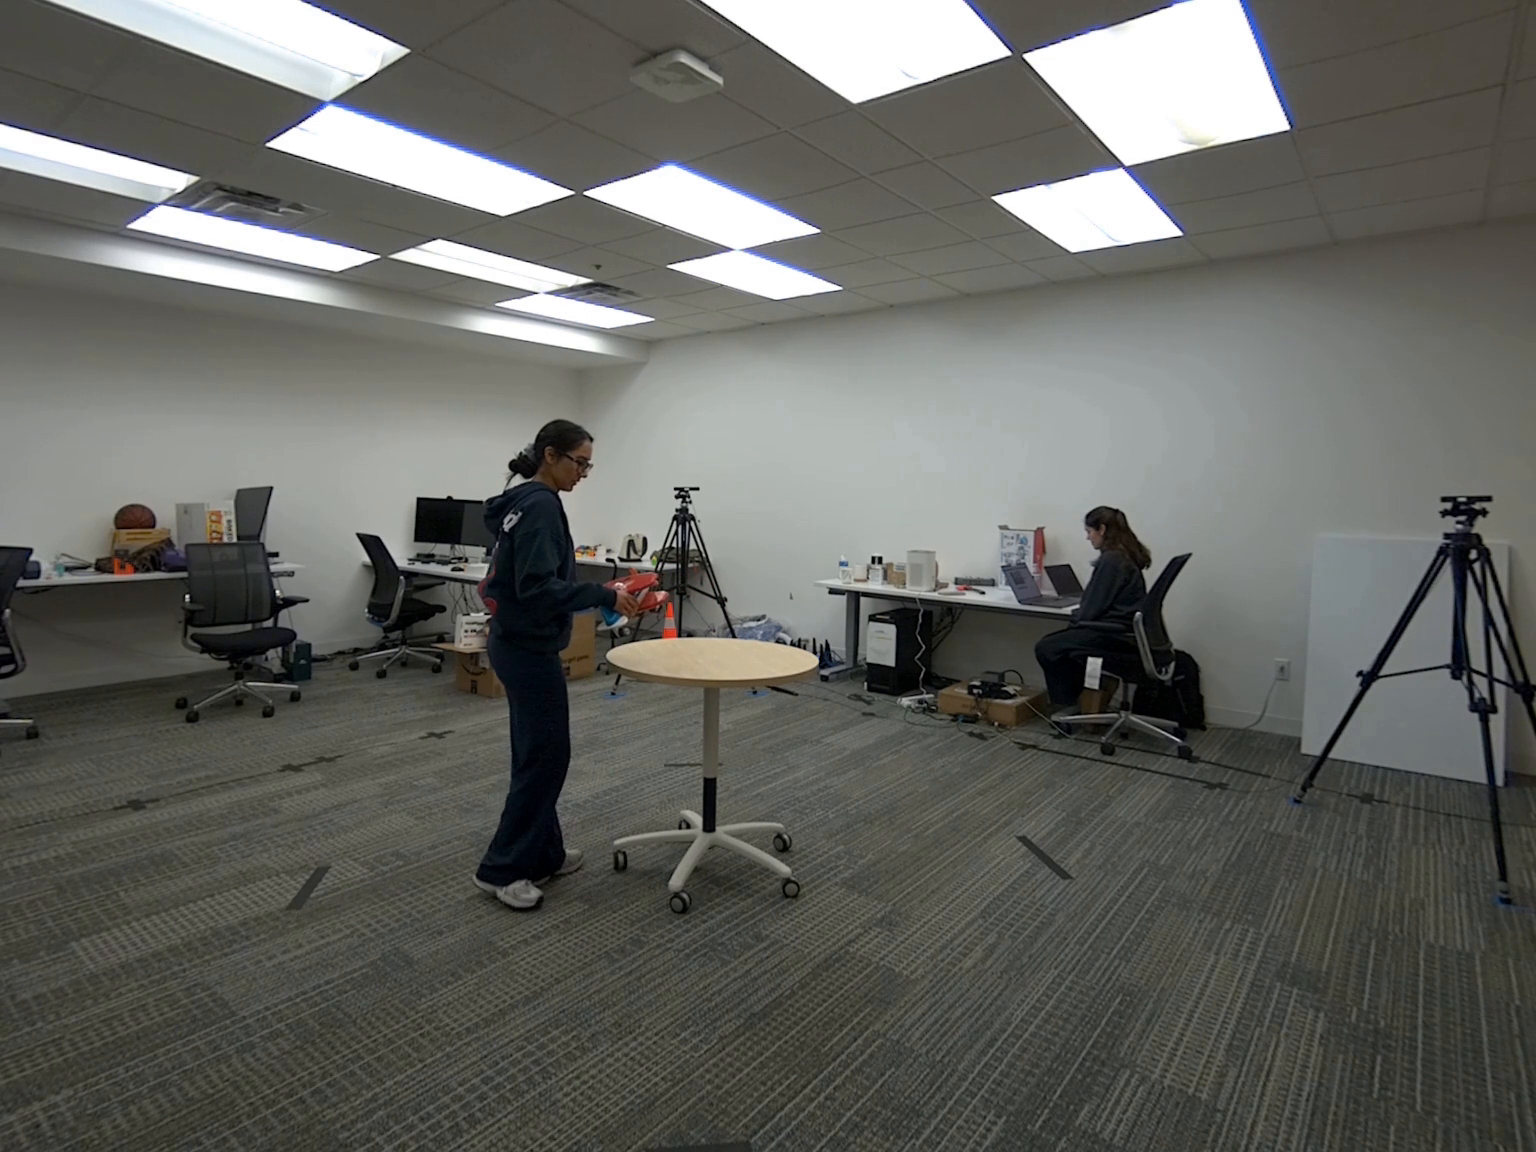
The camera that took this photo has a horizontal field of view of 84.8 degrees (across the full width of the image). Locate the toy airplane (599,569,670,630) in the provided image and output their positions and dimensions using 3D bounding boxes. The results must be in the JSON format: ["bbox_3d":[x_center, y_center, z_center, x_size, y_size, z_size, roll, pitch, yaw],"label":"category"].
[{"bbox_3d":[-0.468,0.094,2.841,0.252,0.154,0.262,-21,13,3],"label":"toy airplane"}]
